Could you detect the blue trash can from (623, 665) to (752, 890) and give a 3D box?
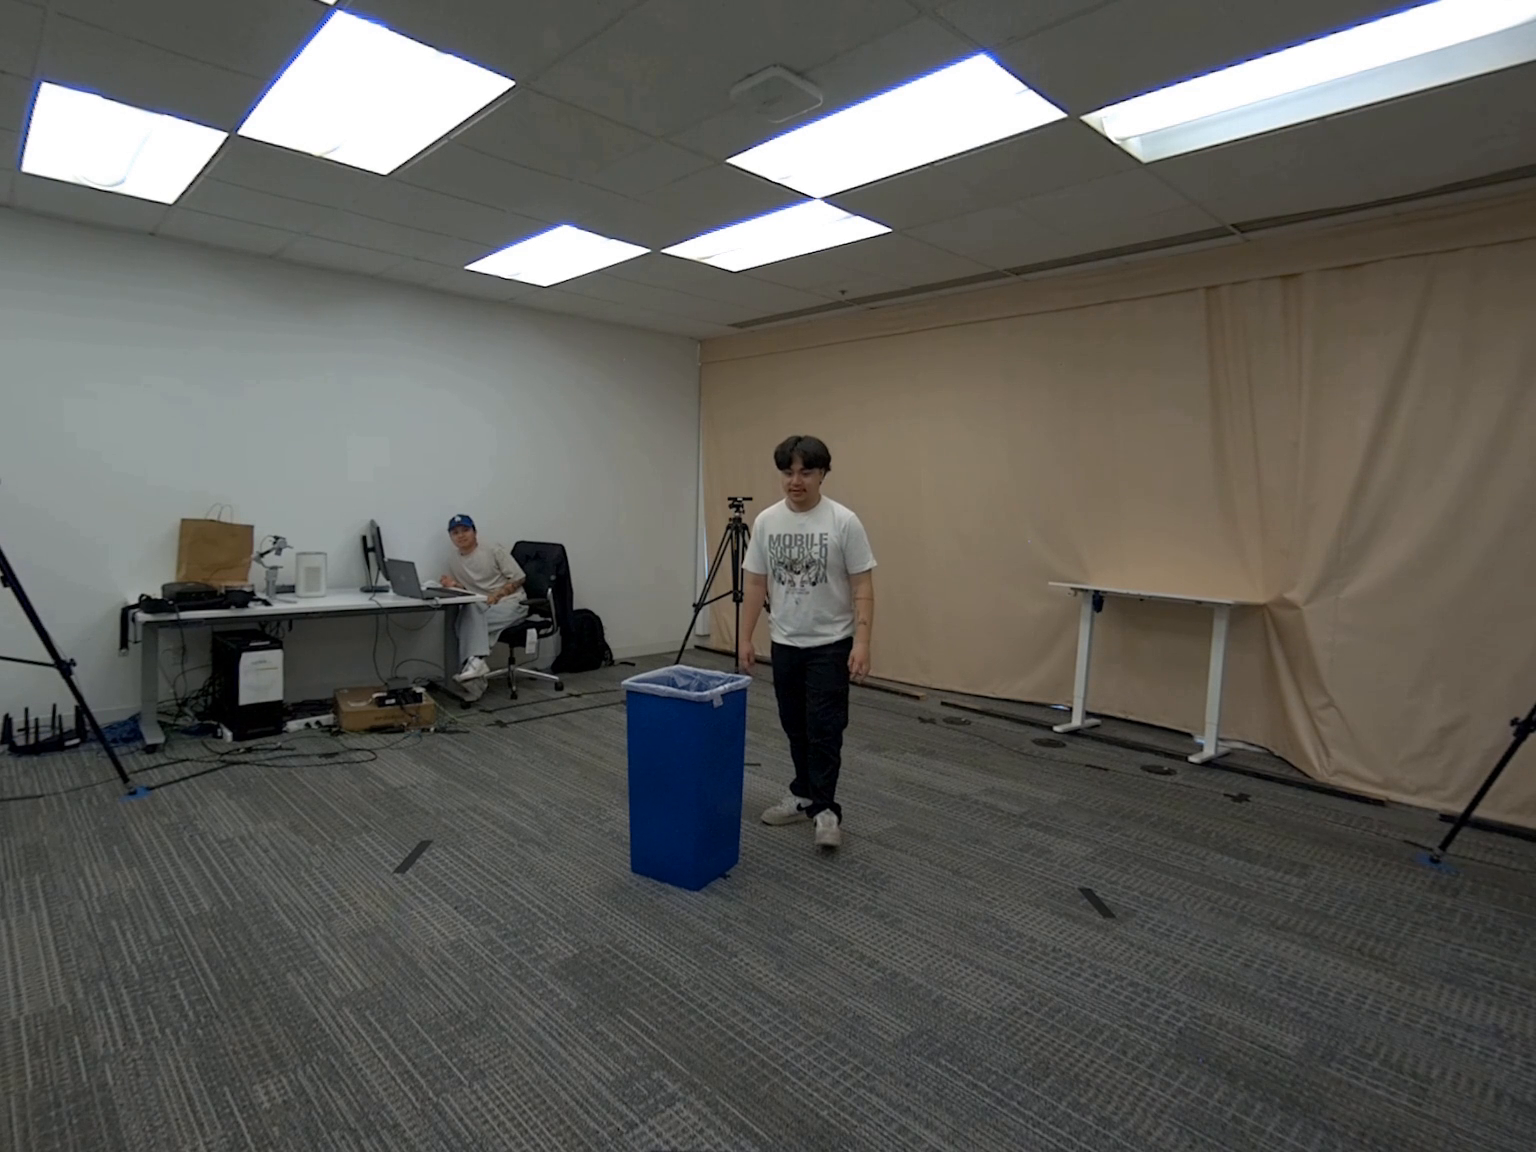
[{"bbox_3d":[-0.319,0.740,3.156,0.382,0.712,0.370,4,4,30],"label":"blue trash can"}]
